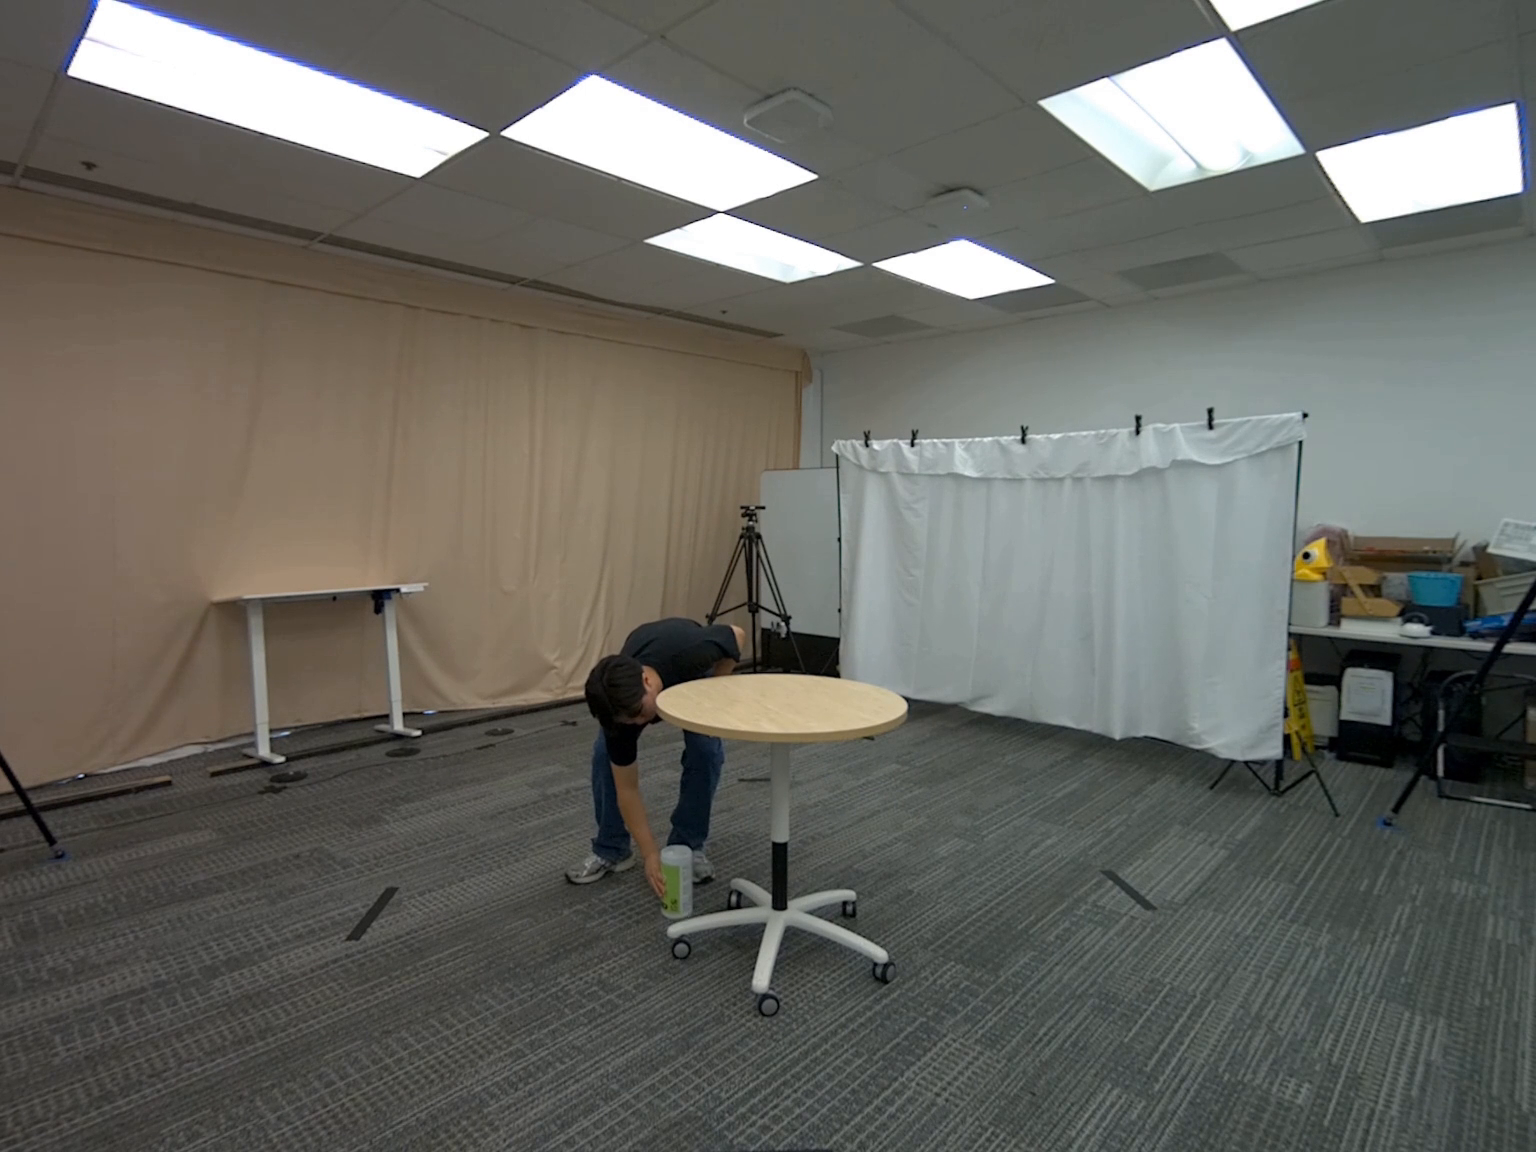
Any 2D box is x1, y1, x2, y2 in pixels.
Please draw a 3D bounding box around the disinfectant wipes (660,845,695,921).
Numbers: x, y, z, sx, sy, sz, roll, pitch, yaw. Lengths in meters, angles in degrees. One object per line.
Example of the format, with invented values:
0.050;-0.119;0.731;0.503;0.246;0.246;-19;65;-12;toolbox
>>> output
-0.313;1.045;2.888;0.118;0.217;0.118;-1;5;-2;disinfectant wipes
